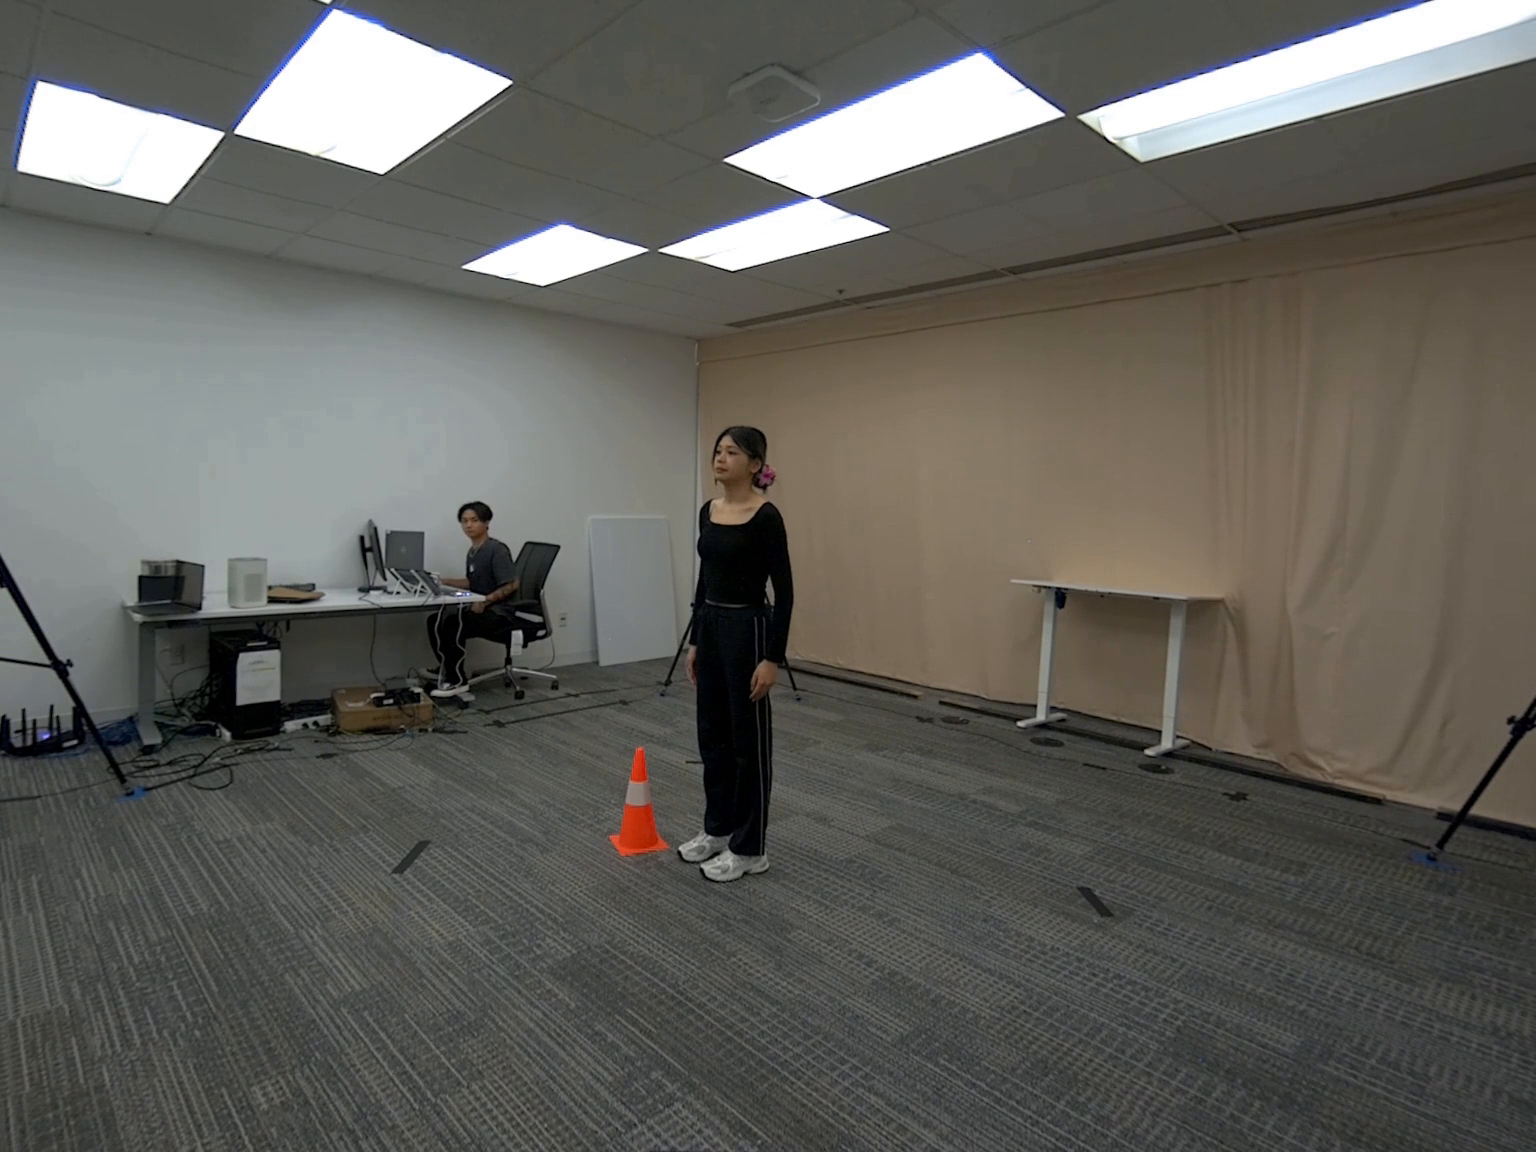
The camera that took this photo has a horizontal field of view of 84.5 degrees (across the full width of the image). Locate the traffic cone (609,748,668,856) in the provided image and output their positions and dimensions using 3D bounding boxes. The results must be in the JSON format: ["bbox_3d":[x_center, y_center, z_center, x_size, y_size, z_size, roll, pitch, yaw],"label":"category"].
[{"bbox_3d":[-0.517,0.881,3.381,0.201,0.383,0.207,1,4,-26],"label":"traffic cone"}]
